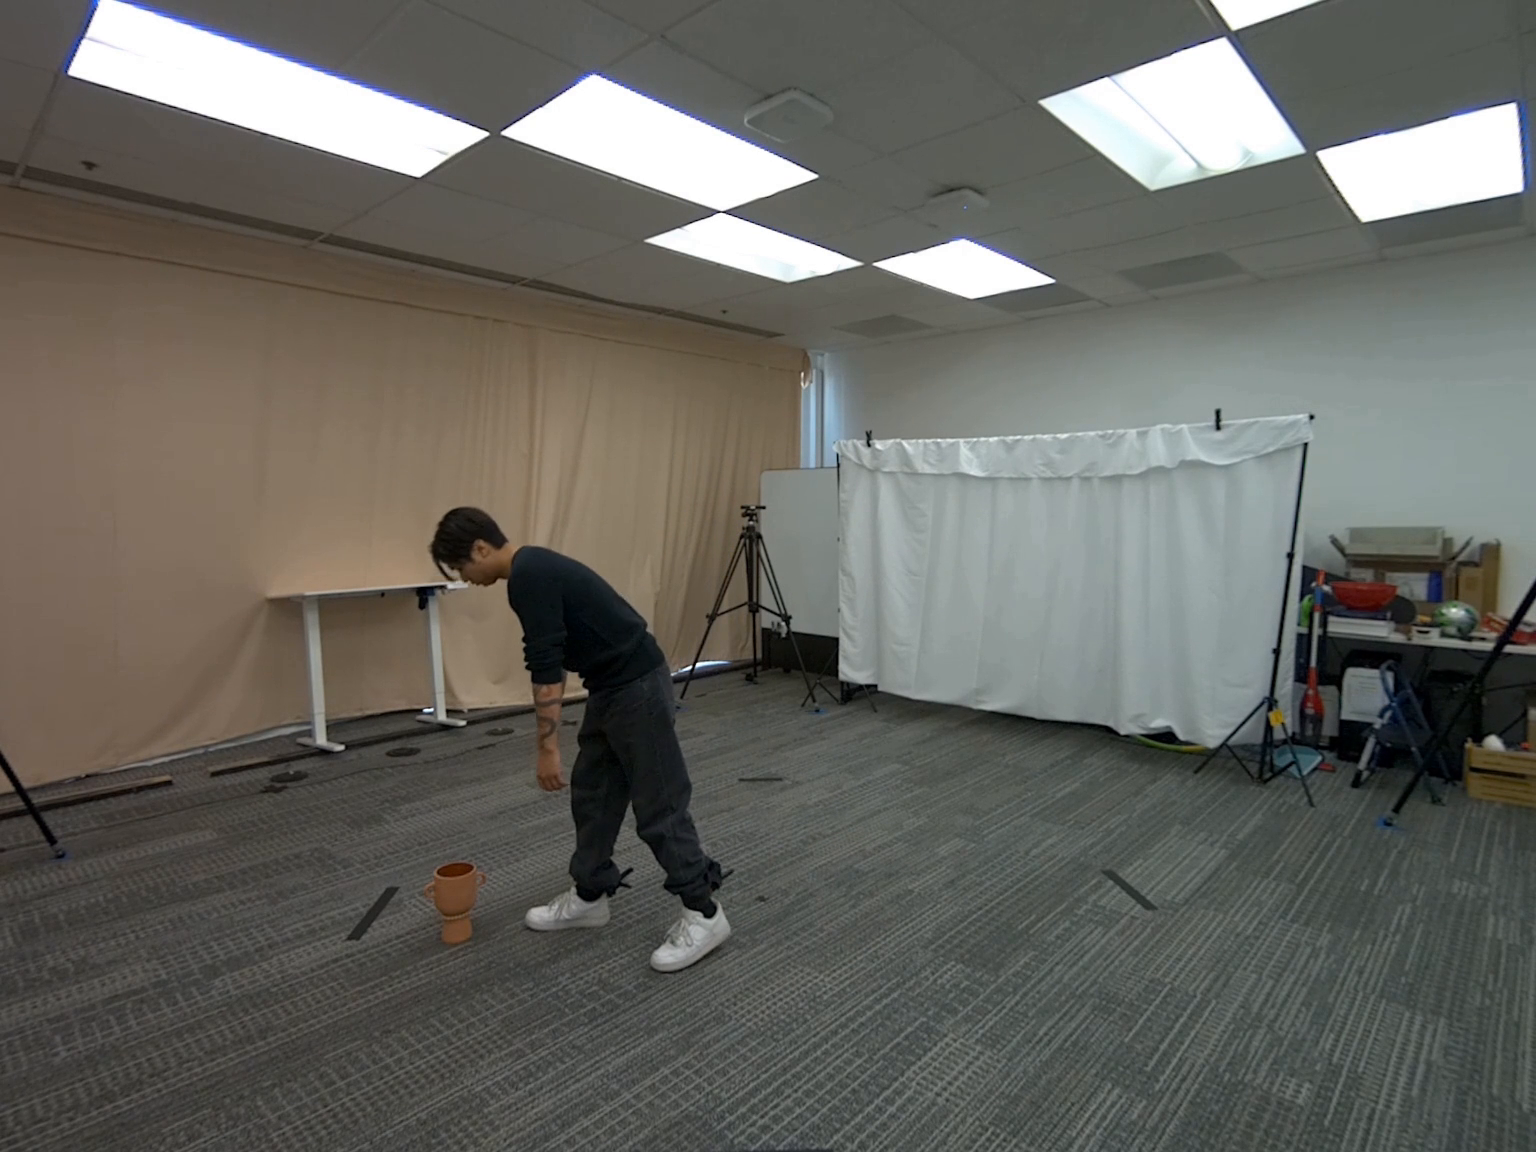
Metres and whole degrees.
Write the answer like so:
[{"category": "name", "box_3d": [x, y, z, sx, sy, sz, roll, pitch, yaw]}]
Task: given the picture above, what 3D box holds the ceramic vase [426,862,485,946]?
[{"category": "ceramic vase", "box_3d": [-1.017, 1.065, 2.733, 0.160, 0.219, 0.134, 1, 2, 6]}]
